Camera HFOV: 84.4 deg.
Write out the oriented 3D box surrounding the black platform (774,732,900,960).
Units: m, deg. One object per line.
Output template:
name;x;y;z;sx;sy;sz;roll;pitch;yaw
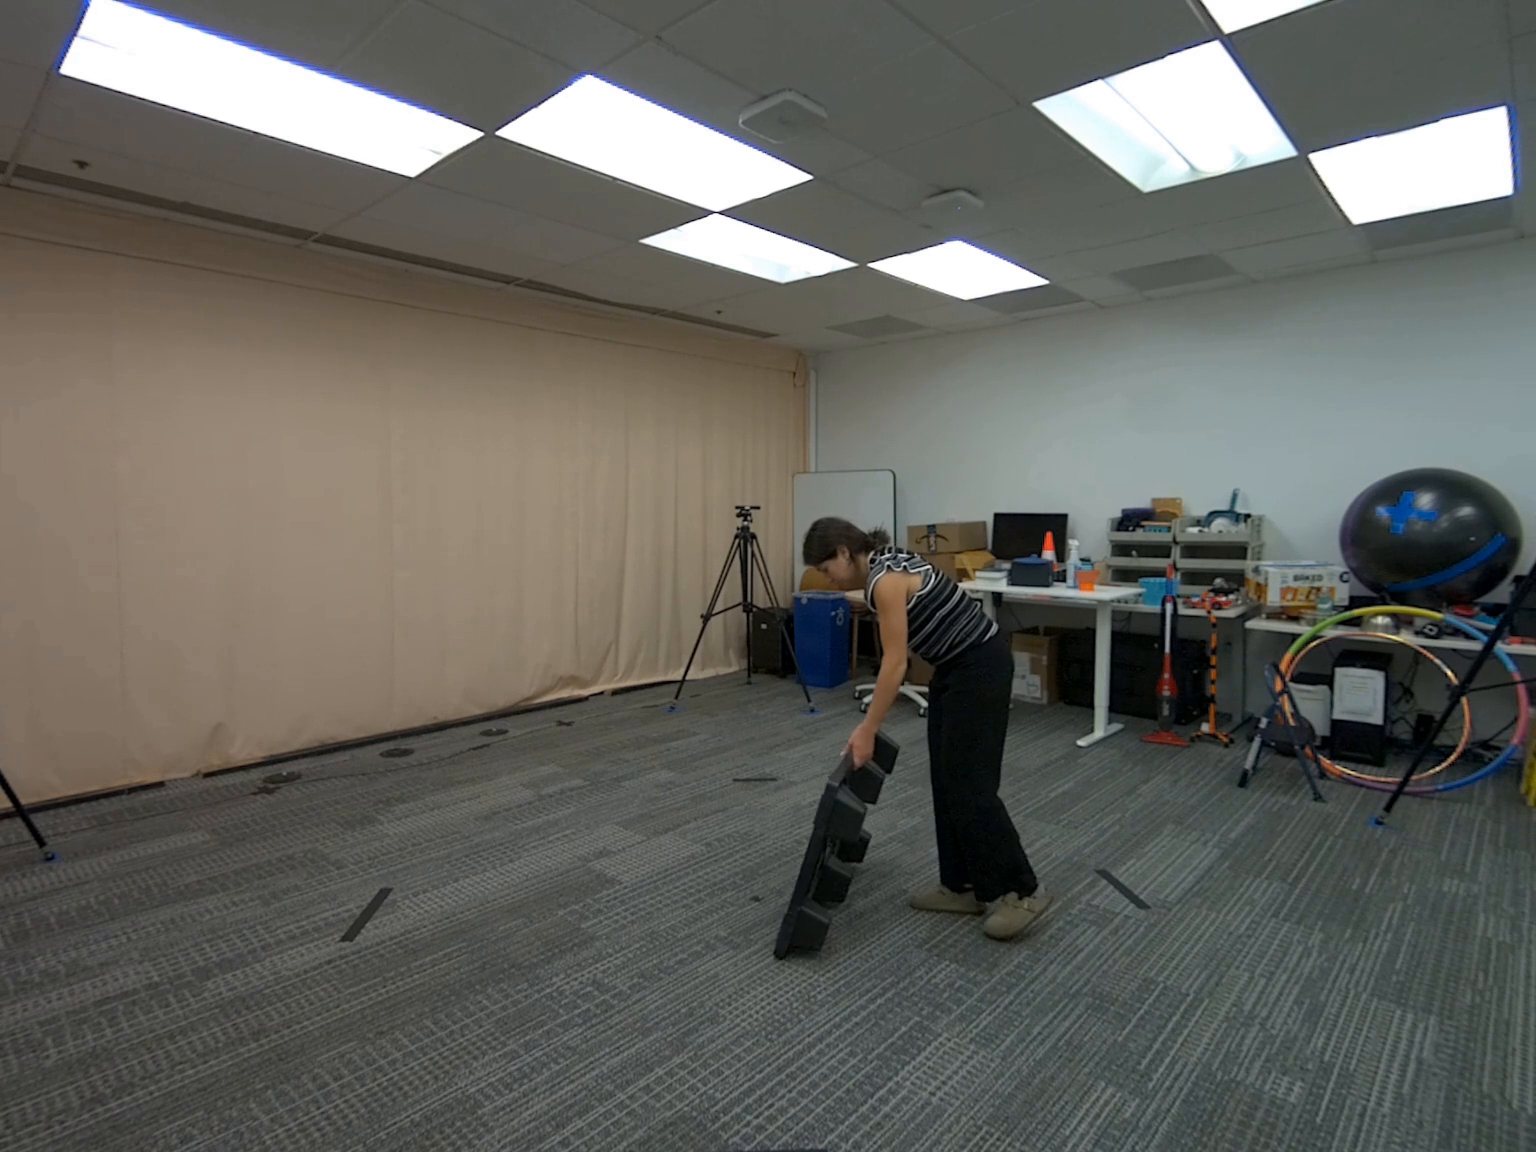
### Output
black platform;0.270;0.879;2.886;0.146;0.603;0.791;18;9;15
